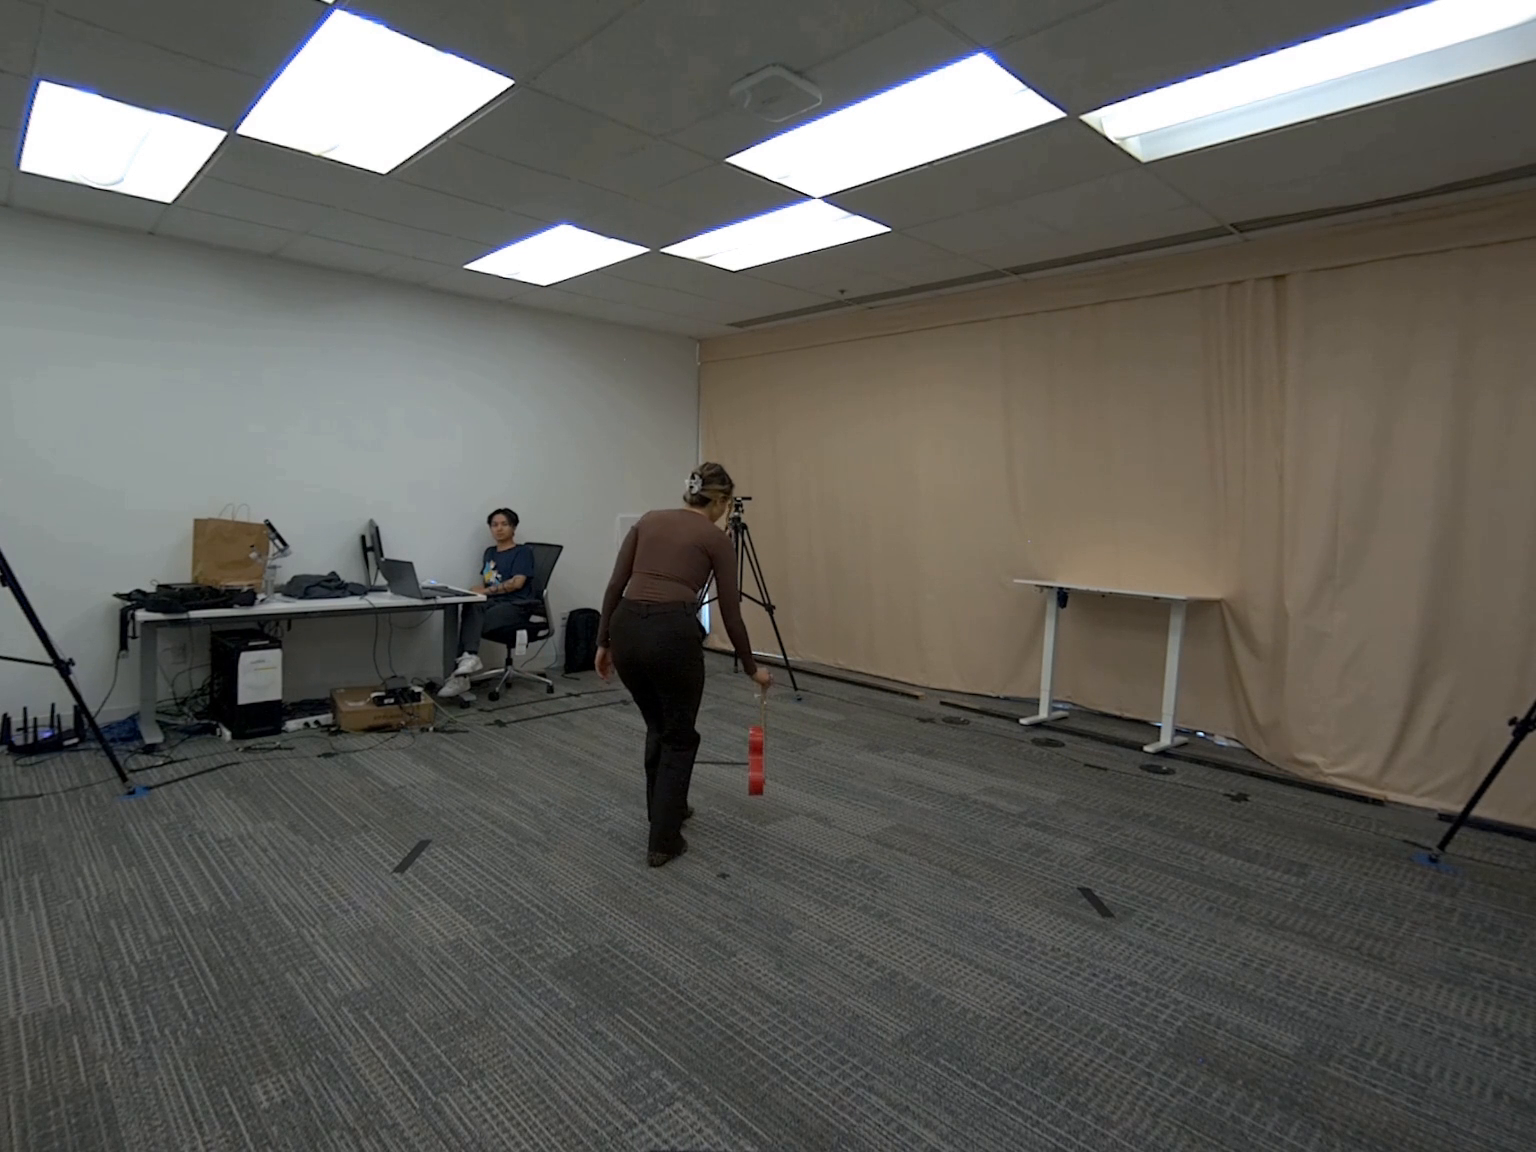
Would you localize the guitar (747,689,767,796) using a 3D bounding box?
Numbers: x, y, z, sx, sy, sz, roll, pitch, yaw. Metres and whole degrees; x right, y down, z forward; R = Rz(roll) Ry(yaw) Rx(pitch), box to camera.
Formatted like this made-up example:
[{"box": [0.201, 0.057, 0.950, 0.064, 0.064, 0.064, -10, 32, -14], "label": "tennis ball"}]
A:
[{"box": [-0.051, 0.648, 3.492, 0.071, 0.505, 0.190, 0, -21, 1], "label": "guitar"}]
